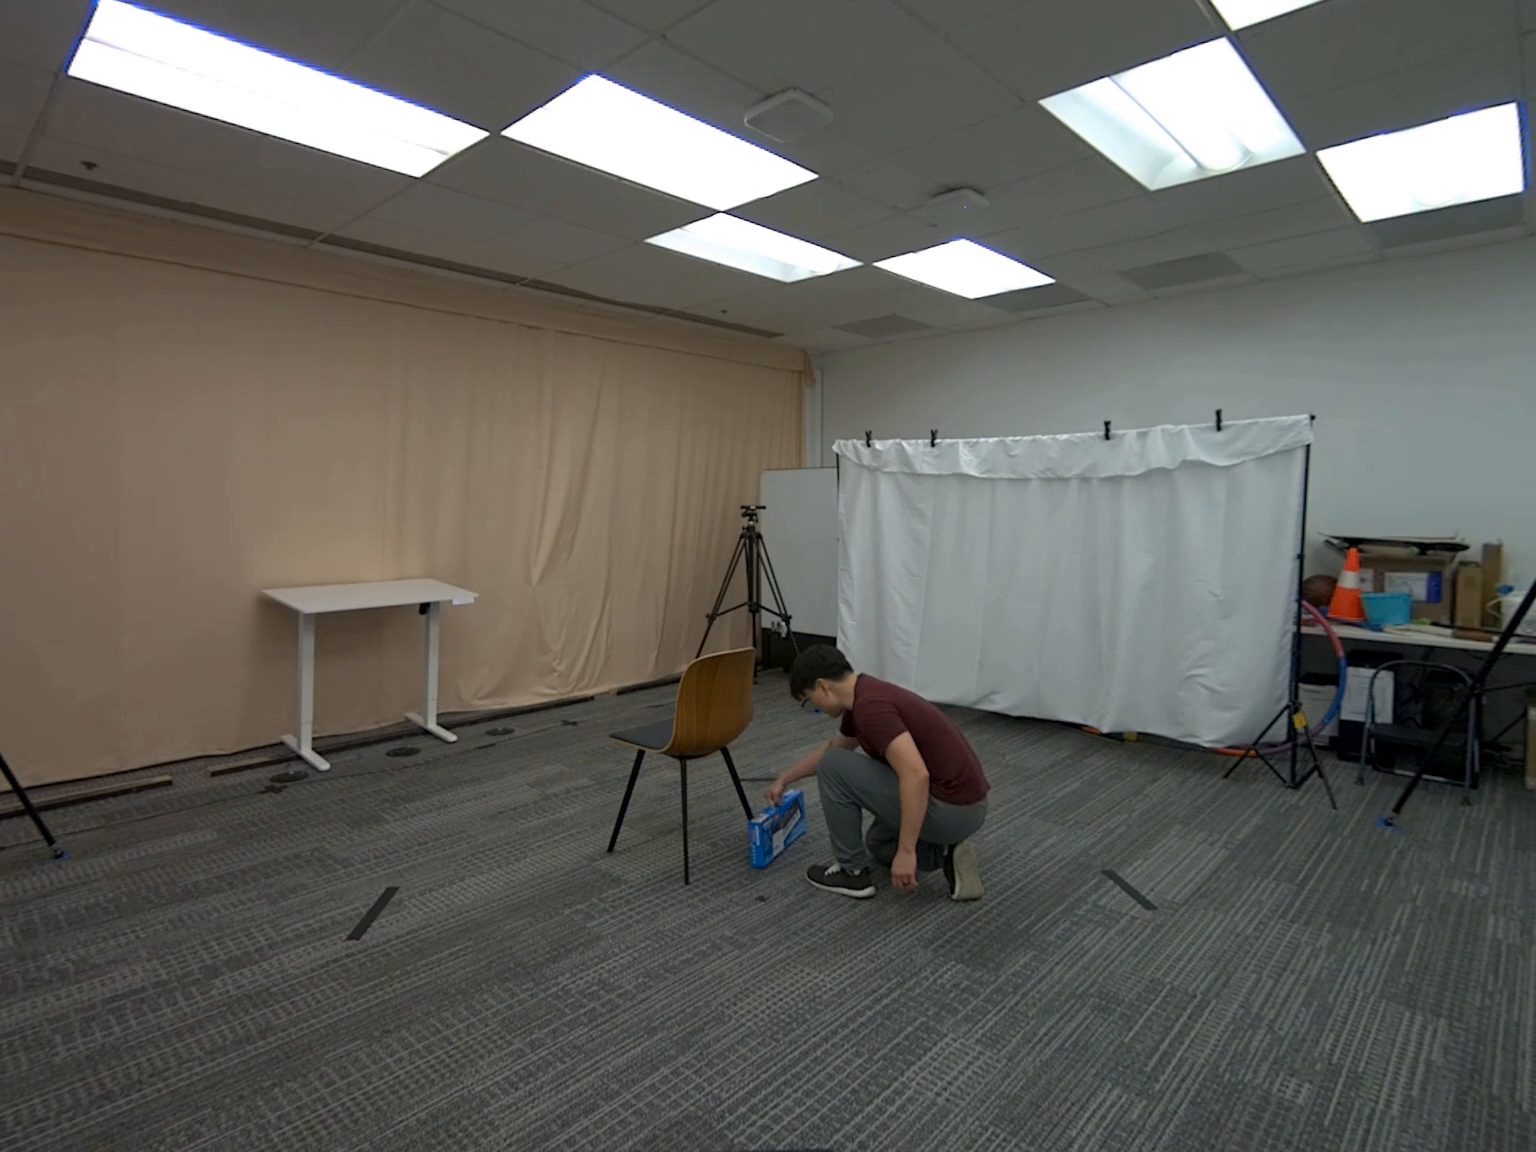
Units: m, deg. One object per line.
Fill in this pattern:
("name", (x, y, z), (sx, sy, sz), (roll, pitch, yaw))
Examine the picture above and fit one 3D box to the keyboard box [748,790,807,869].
("keyboard box", (0.047, 1.008, 3.419), (0.060, 0.176, 0.426), (-5, 1, 26))
